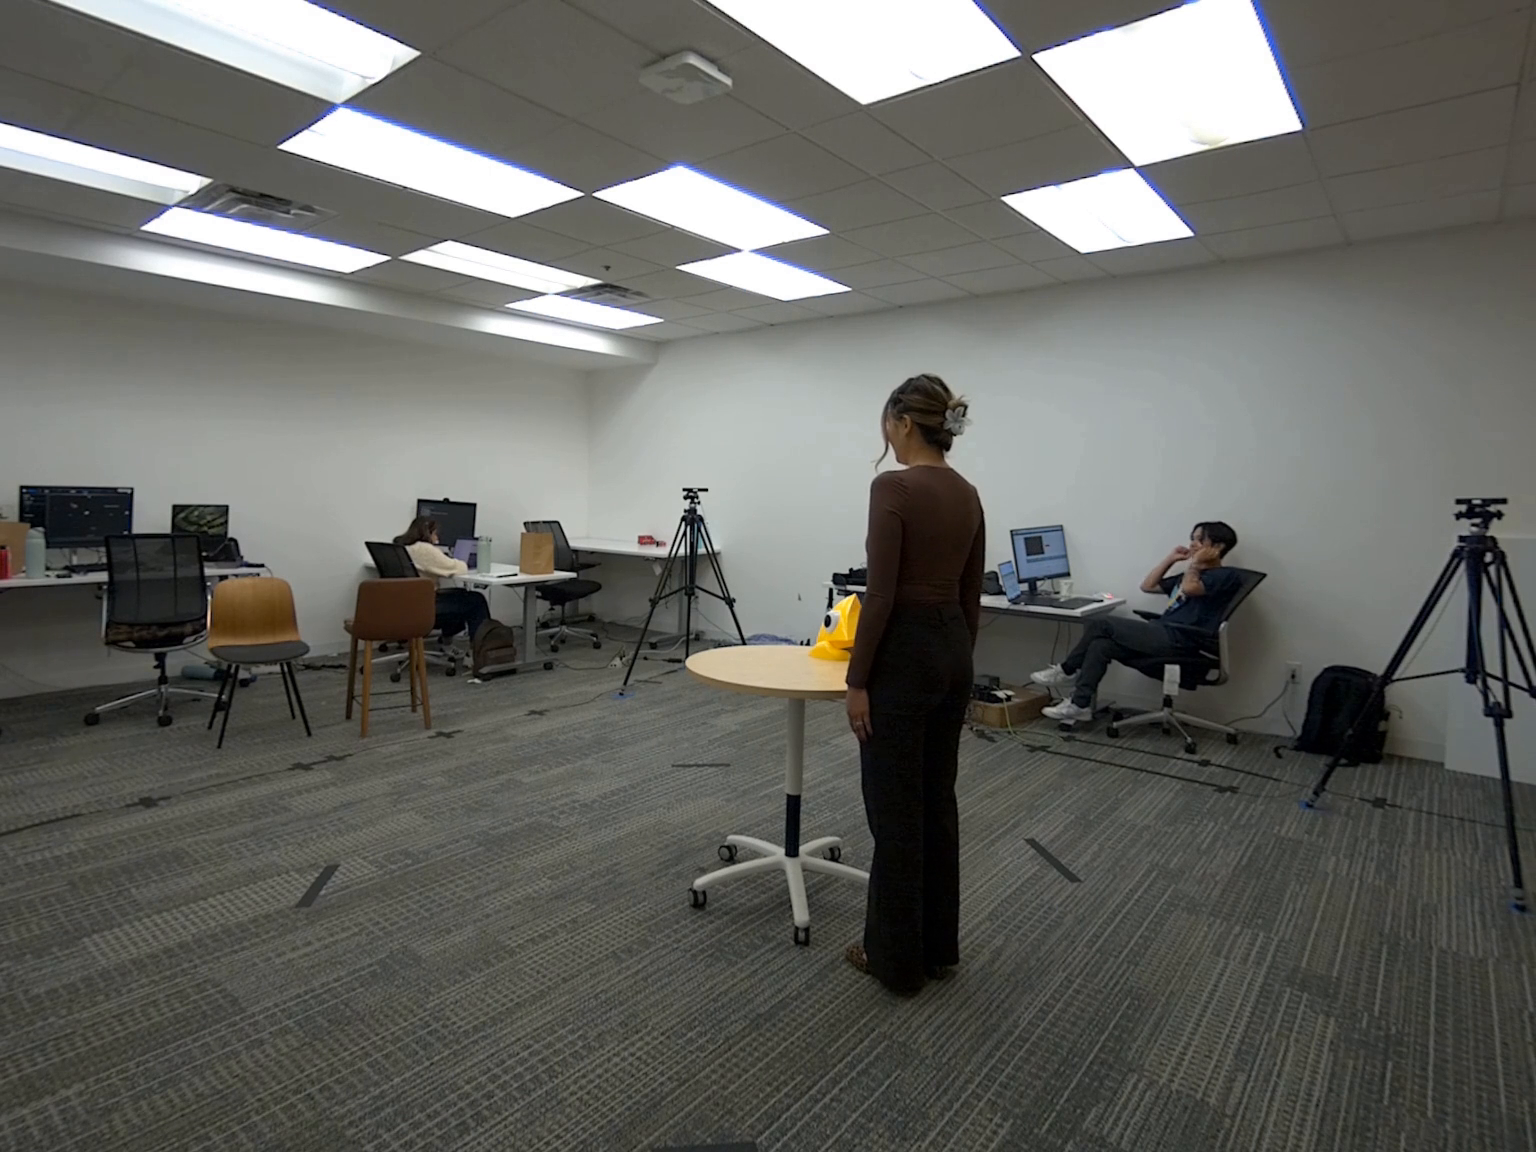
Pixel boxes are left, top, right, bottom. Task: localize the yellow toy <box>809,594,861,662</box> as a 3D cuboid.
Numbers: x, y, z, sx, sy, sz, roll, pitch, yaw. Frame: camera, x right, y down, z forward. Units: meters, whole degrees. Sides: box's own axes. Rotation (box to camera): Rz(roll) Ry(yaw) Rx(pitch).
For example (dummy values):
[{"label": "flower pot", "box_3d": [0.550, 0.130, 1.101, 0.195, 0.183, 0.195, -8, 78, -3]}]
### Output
[{"label": "yellow toy", "box_3d": [0.248, 0.170, 3.079, 0.199, 0.230, 0.199, 3, 4, 35]}]
